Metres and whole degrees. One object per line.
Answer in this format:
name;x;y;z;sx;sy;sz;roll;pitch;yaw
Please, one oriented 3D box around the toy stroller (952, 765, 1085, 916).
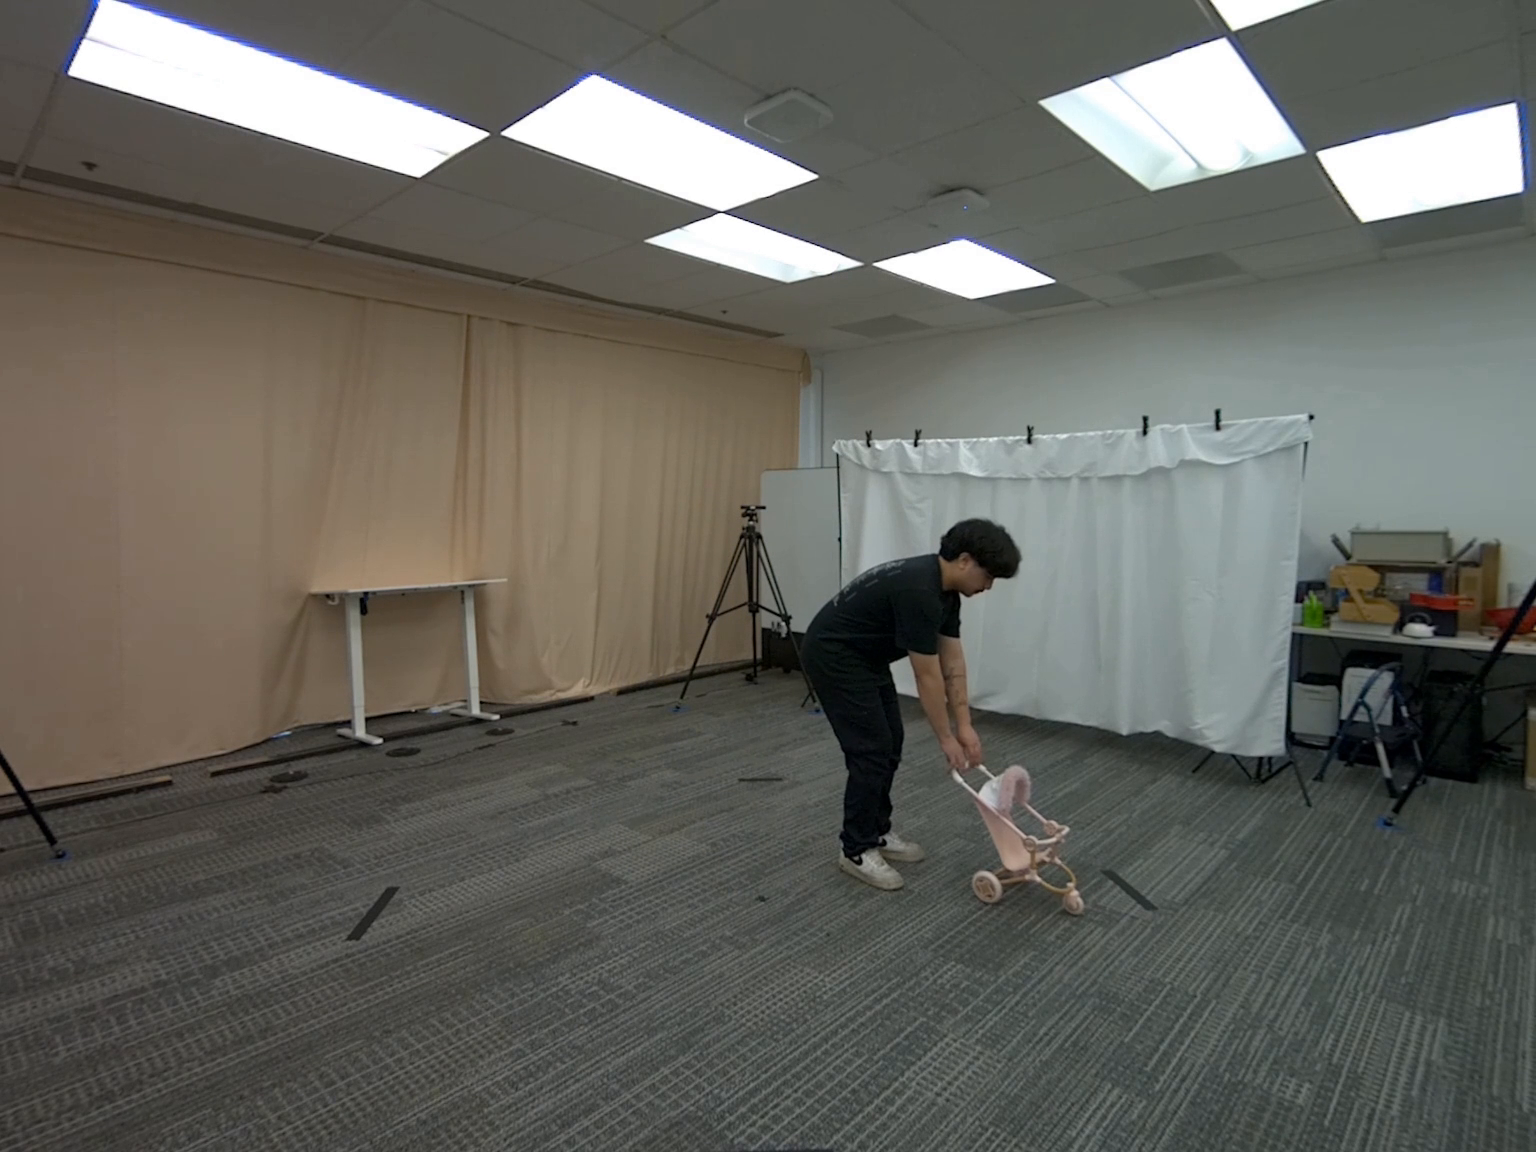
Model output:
toy stroller;0.898;0.916;2.987;0.273;0.539;0.349;-3;-12;-44
